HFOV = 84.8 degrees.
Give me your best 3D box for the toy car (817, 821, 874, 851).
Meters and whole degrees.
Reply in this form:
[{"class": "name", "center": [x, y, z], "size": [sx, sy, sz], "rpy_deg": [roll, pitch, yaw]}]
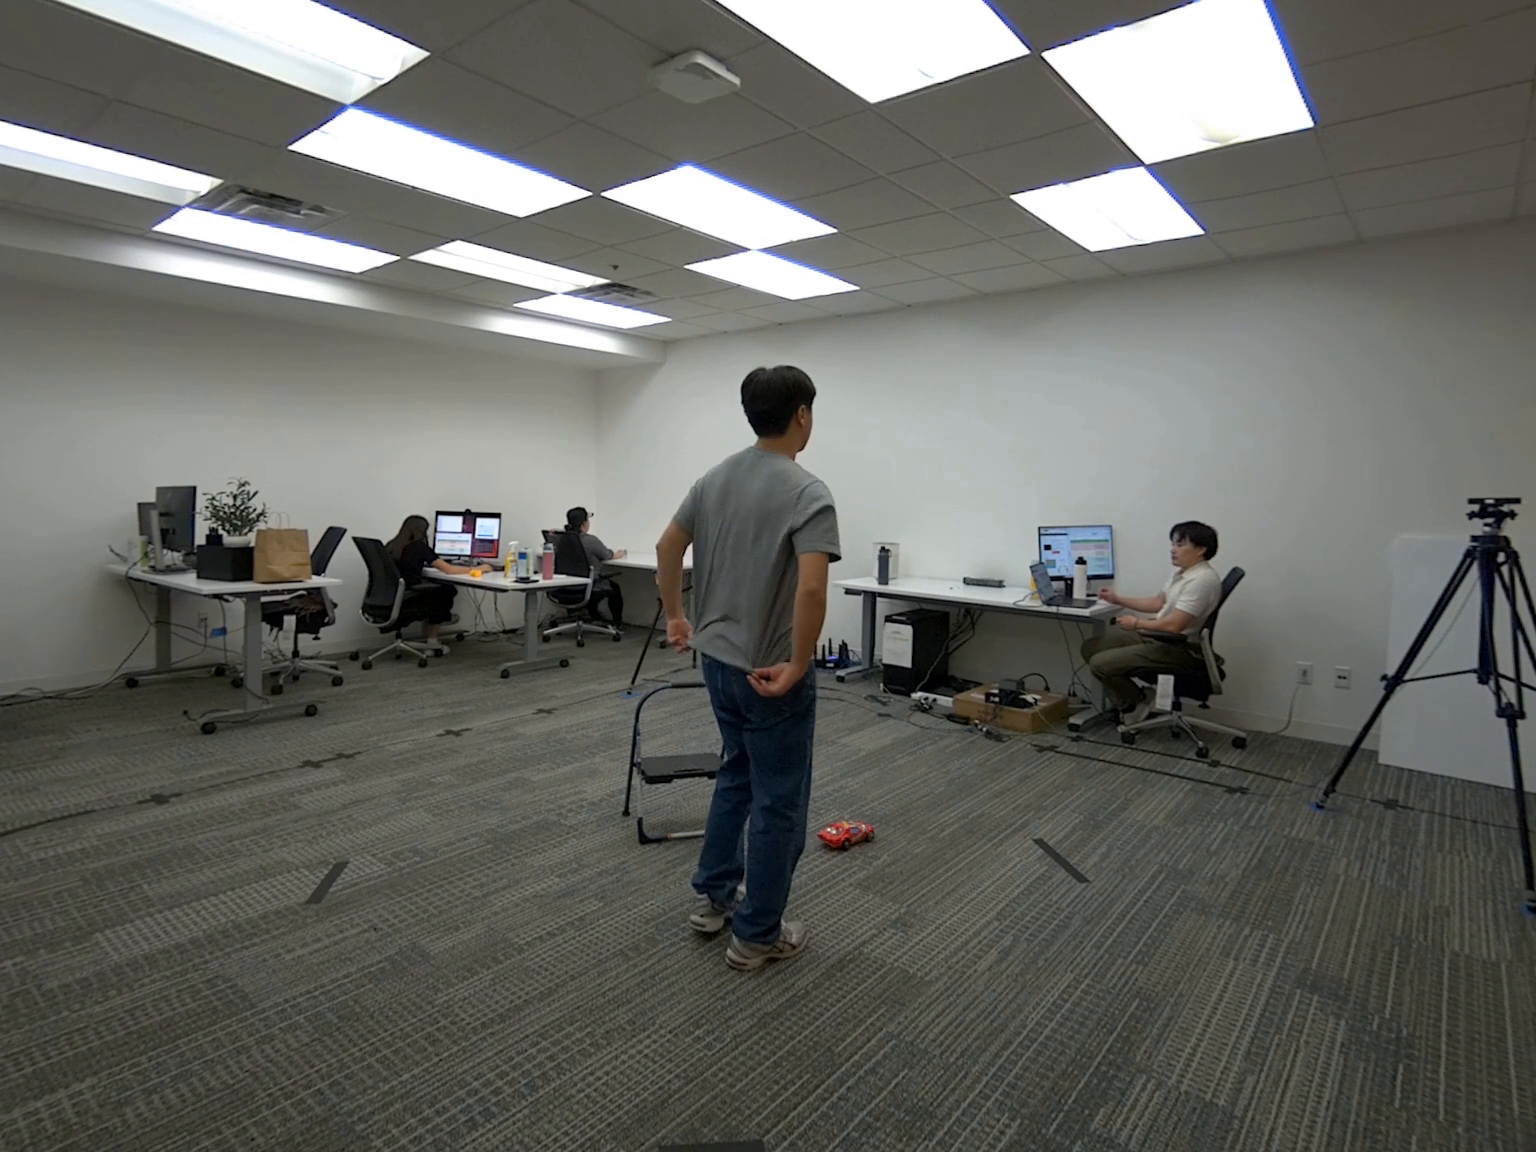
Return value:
[{"class": "toy car", "center": [0.298, 1.019, 3.366], "size": [0.245, 0.083, 0.135], "rpy_deg": [11, -2, -40]}]
